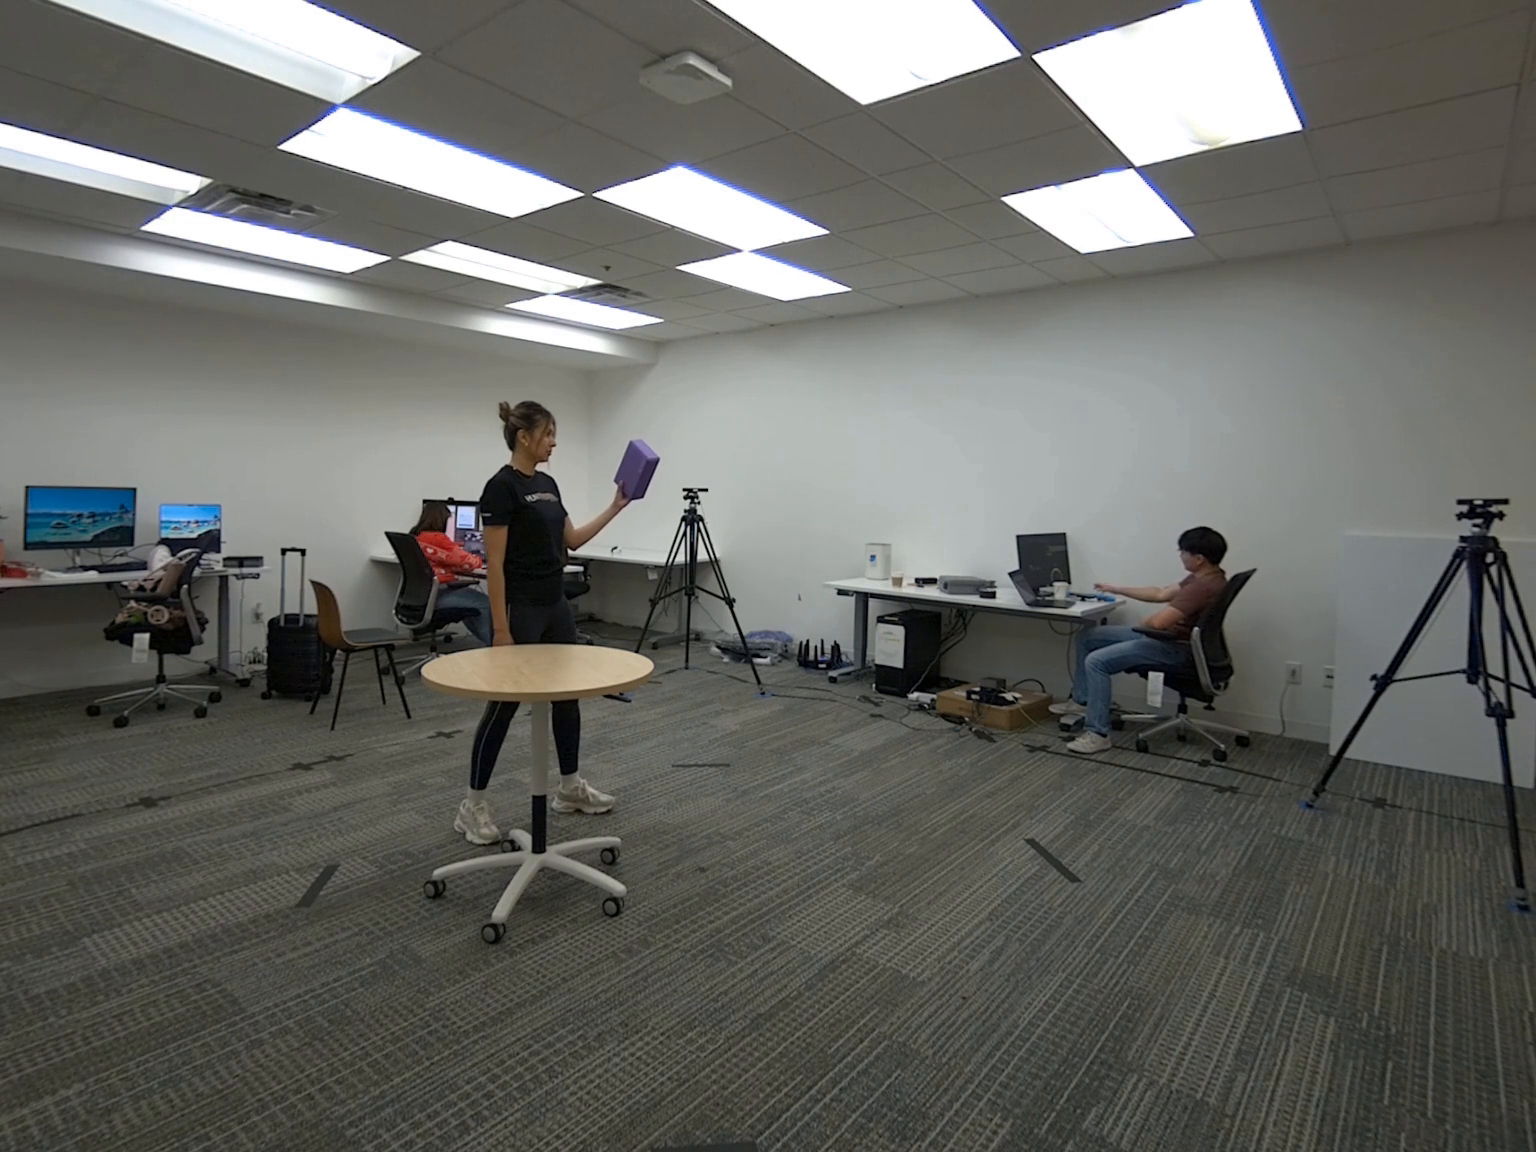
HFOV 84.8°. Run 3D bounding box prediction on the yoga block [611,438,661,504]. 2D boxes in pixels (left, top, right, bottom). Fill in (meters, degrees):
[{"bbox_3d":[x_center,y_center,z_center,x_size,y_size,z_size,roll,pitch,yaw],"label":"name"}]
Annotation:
[{"bbox_3d":[-0.585,-0.463,3.692,0.075,0.227,0.154,-17,54,-47],"label":"yoga block"}]
